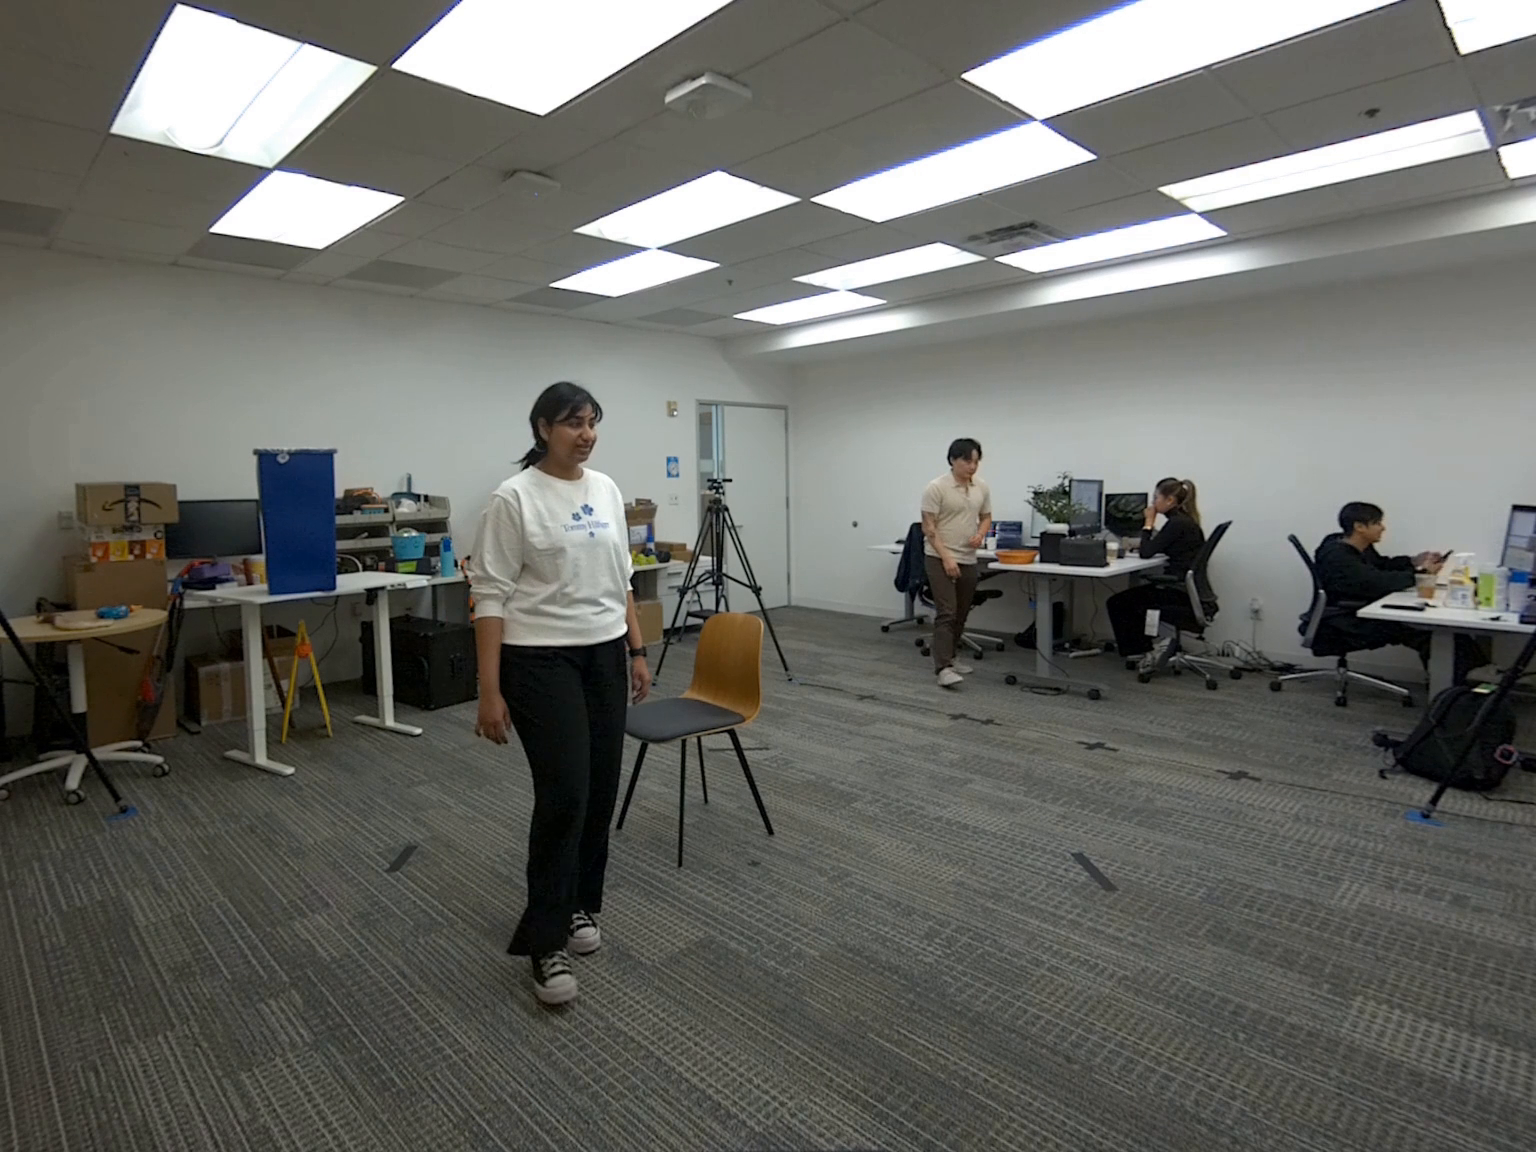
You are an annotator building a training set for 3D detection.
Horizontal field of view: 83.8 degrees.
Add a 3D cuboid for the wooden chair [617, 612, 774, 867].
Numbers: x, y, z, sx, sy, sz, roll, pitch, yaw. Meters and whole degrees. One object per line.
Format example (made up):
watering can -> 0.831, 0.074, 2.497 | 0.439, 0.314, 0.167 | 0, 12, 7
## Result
wooden chair -> -0.304, 0.592, 3.358 | 0.508, 0.876, 0.492 | 1, 2, -39
